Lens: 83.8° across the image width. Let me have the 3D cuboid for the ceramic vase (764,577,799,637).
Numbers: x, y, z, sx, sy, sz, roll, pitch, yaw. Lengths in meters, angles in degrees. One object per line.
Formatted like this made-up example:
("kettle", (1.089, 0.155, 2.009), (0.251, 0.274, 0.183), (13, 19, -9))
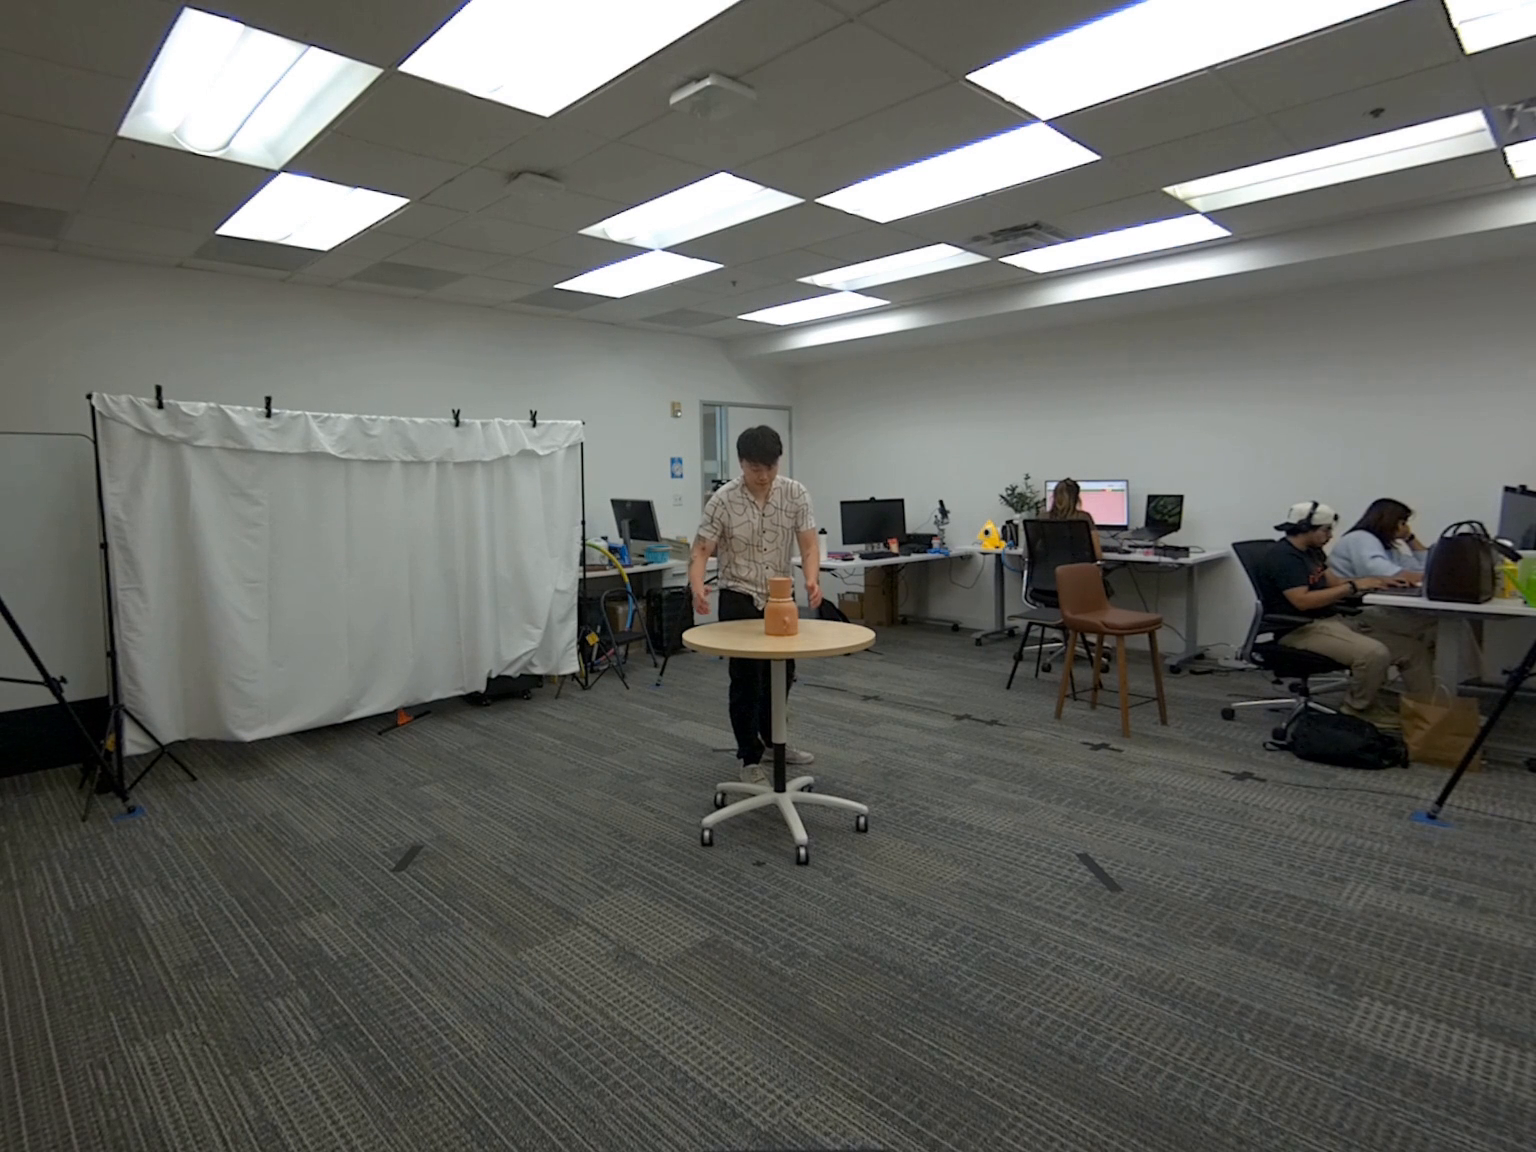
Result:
("ceramic vase", (0.050, 0.124, 3.419), (0.163, 0.219, 0.131), (0, 3, 37))
